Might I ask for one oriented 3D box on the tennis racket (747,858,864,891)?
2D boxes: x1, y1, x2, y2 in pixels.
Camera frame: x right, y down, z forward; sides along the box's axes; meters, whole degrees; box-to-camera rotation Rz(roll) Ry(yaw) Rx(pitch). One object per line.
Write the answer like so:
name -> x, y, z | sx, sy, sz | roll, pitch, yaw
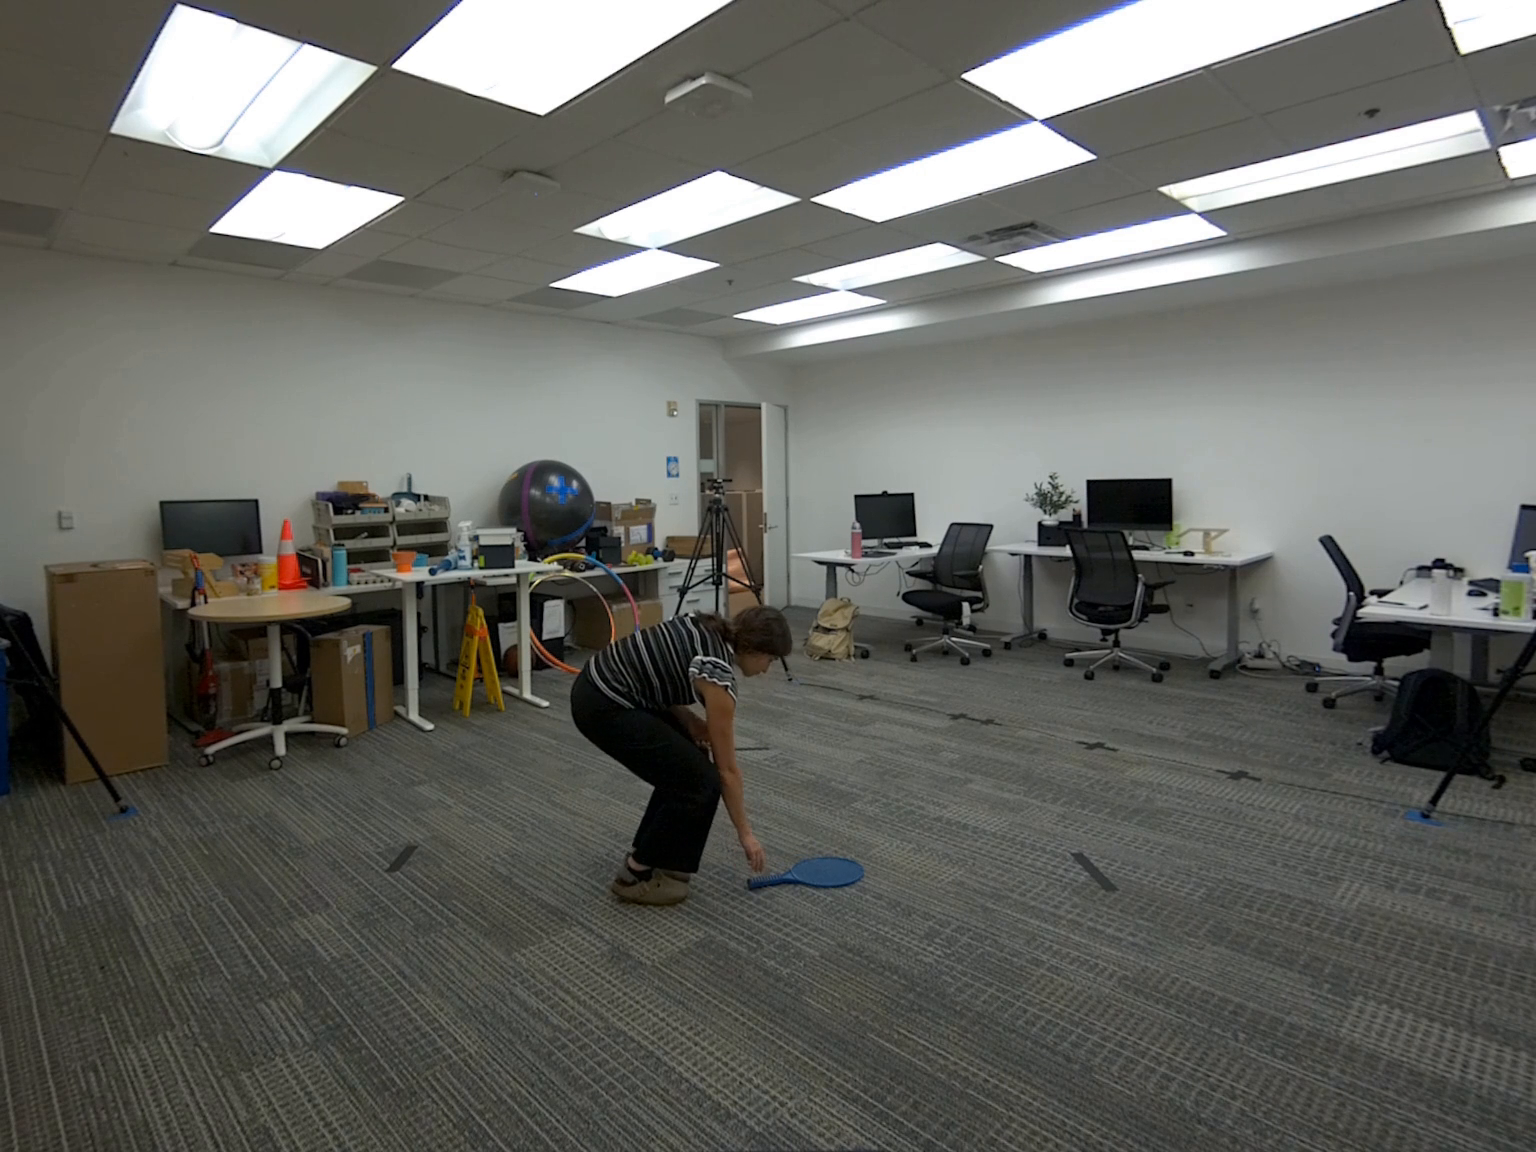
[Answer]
tennis racket -> 0.136, 1.041, 2.986 | 0.425, 0.031, 0.218 | -2, 6, -20
